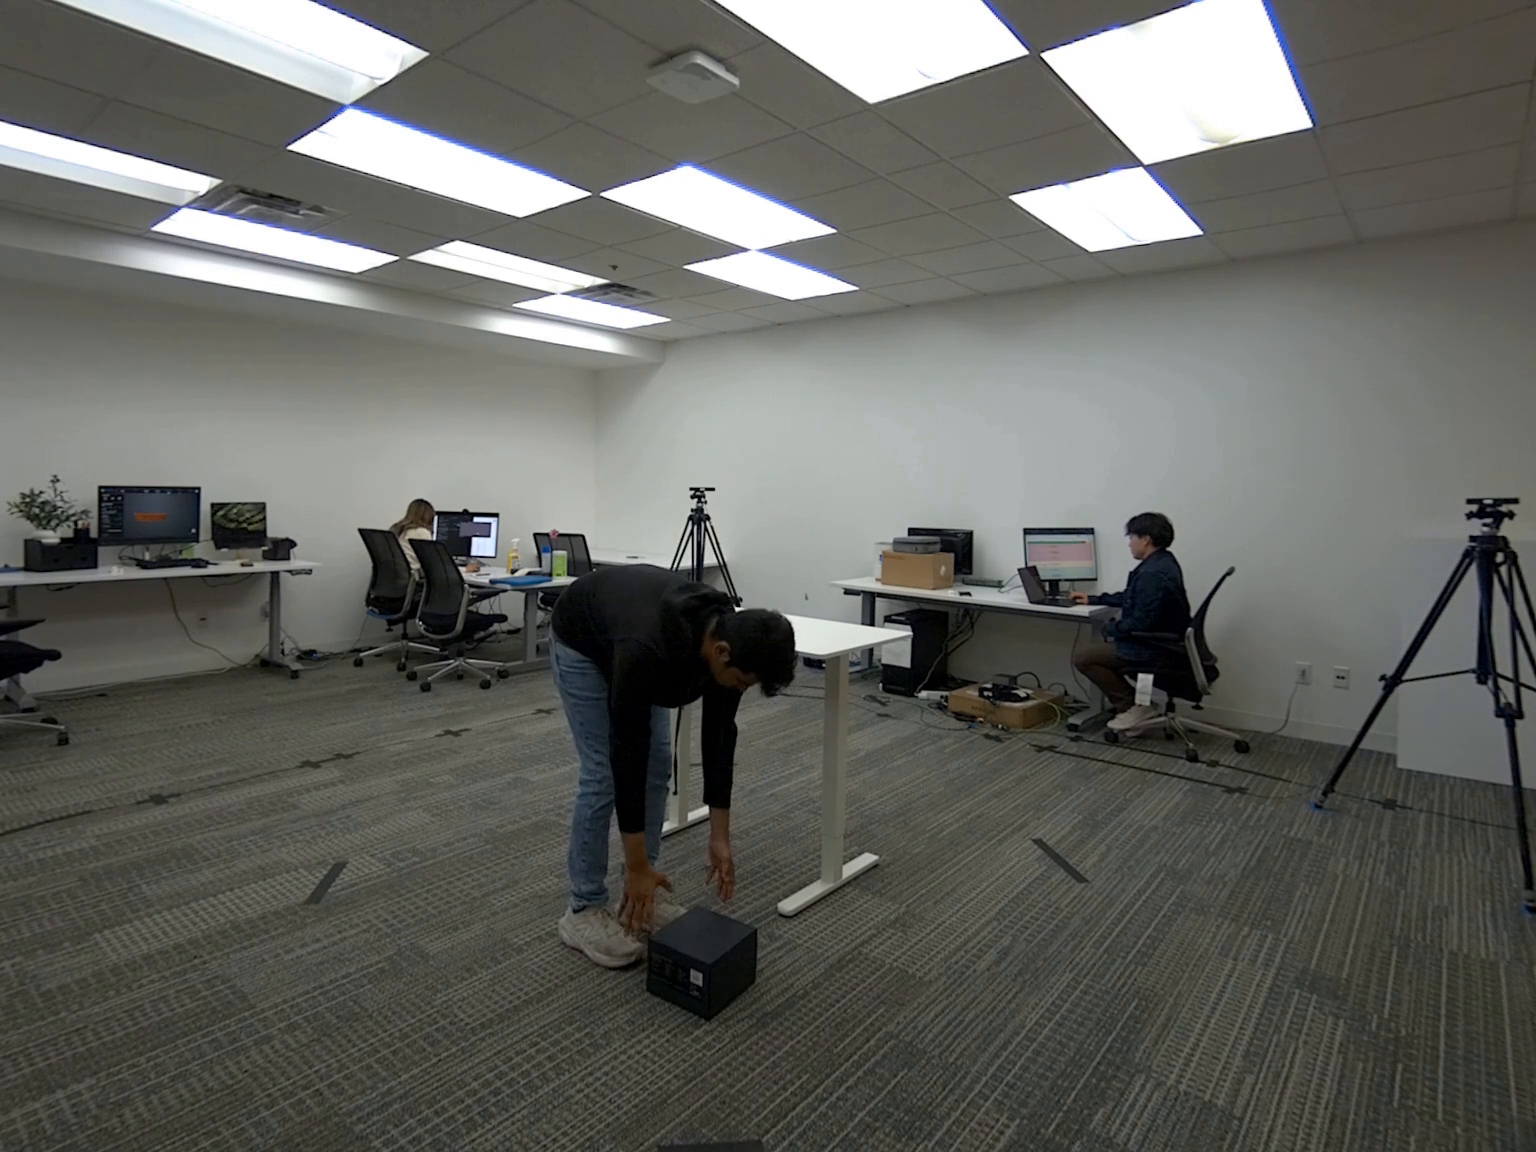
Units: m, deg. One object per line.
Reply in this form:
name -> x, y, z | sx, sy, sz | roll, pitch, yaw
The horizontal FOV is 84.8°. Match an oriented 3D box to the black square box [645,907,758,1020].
black square box -> -0.187, 1.057, 2.363 | 0.224, 0.155, 0.222 | 5, 6, 33
